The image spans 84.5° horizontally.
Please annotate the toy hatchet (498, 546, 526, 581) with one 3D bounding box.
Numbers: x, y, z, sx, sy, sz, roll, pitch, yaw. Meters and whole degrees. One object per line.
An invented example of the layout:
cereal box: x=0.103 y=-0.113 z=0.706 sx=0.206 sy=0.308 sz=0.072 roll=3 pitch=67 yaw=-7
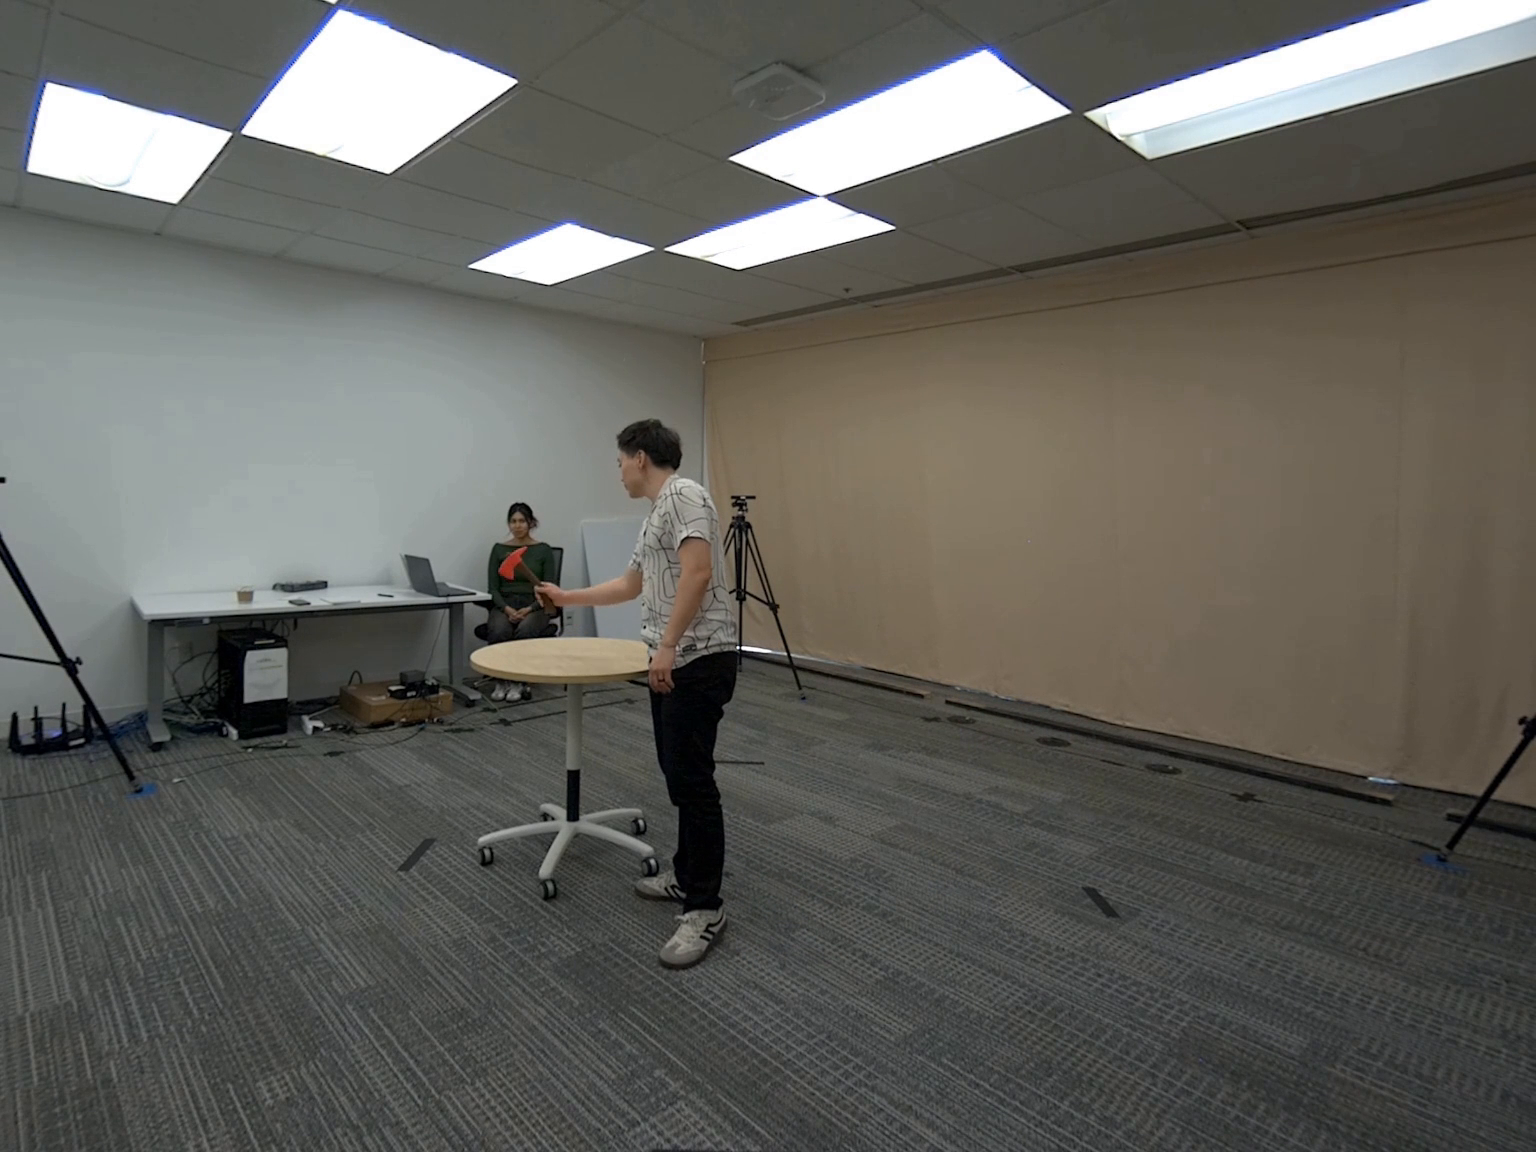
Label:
toy hatchet: x=-0.898 y=0.032 z=3.115 sx=0.130 sy=0.269 sz=0.030 roll=-26 pitch=2 yaw=-10
